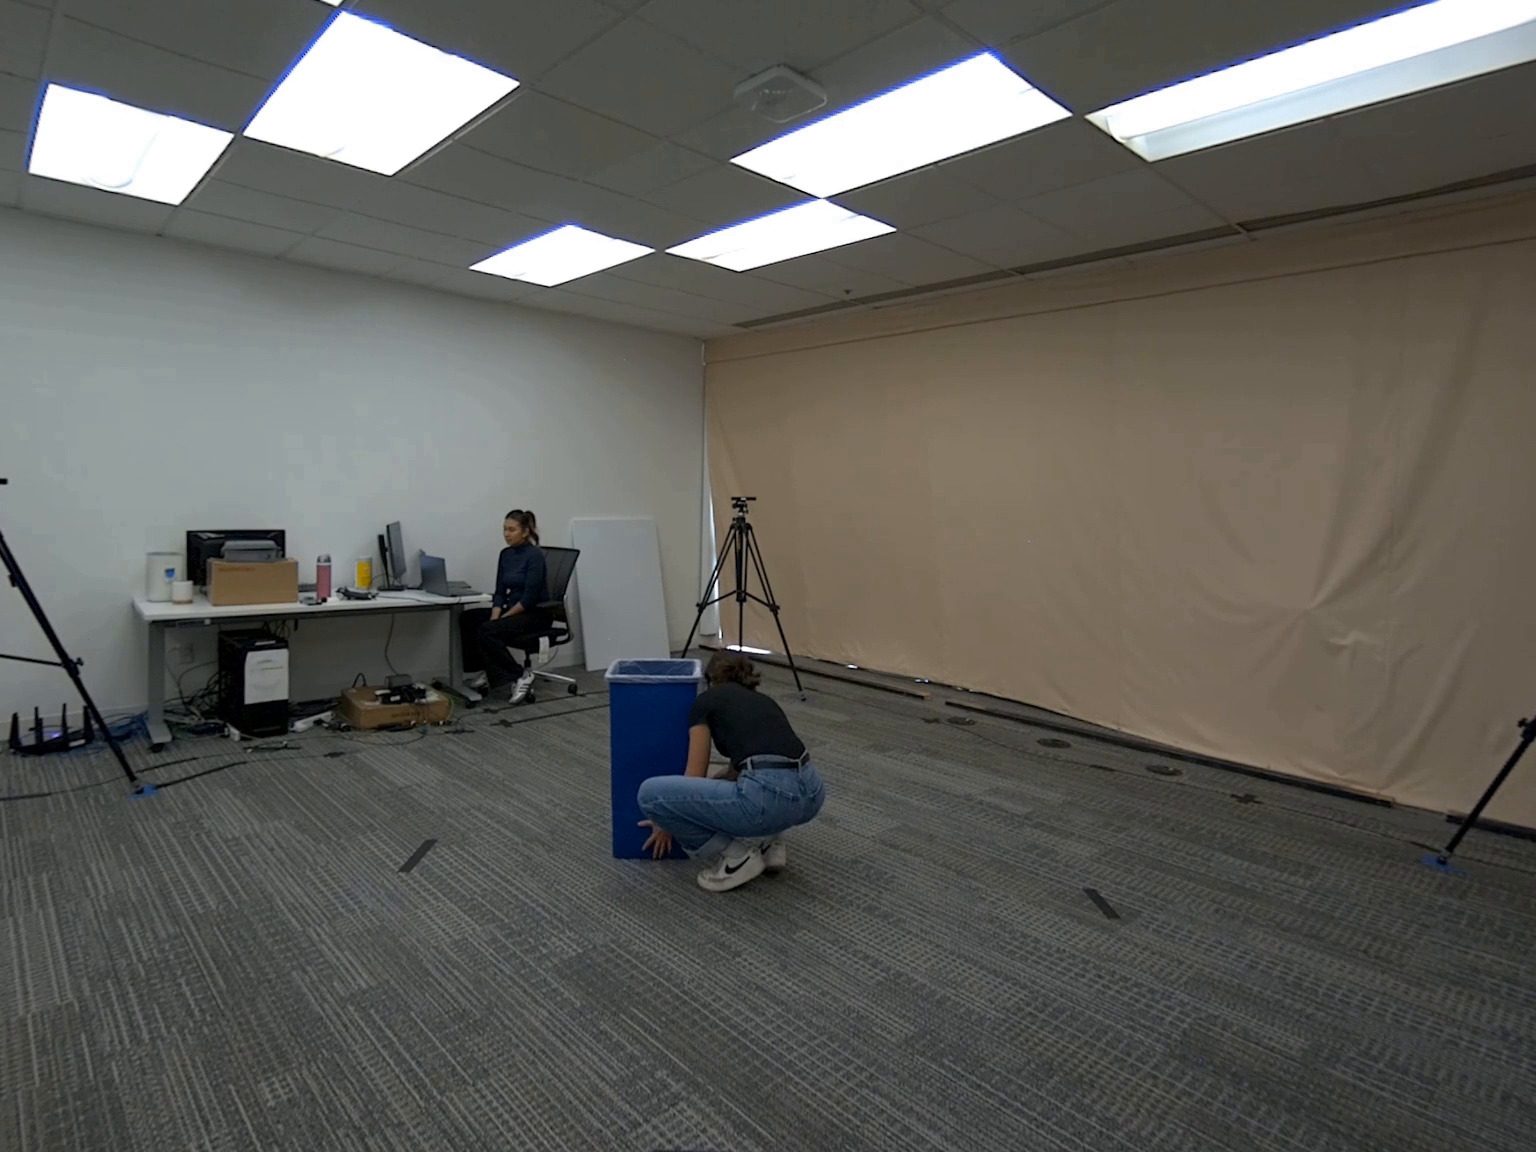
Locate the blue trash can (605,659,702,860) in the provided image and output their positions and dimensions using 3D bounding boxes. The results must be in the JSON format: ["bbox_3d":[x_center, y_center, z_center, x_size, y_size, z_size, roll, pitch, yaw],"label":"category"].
[{"bbox_3d":[-0.463,0.717,3.364,0.373,0.712,0.380,1,2,-4],"label":"blue trash can"}]
